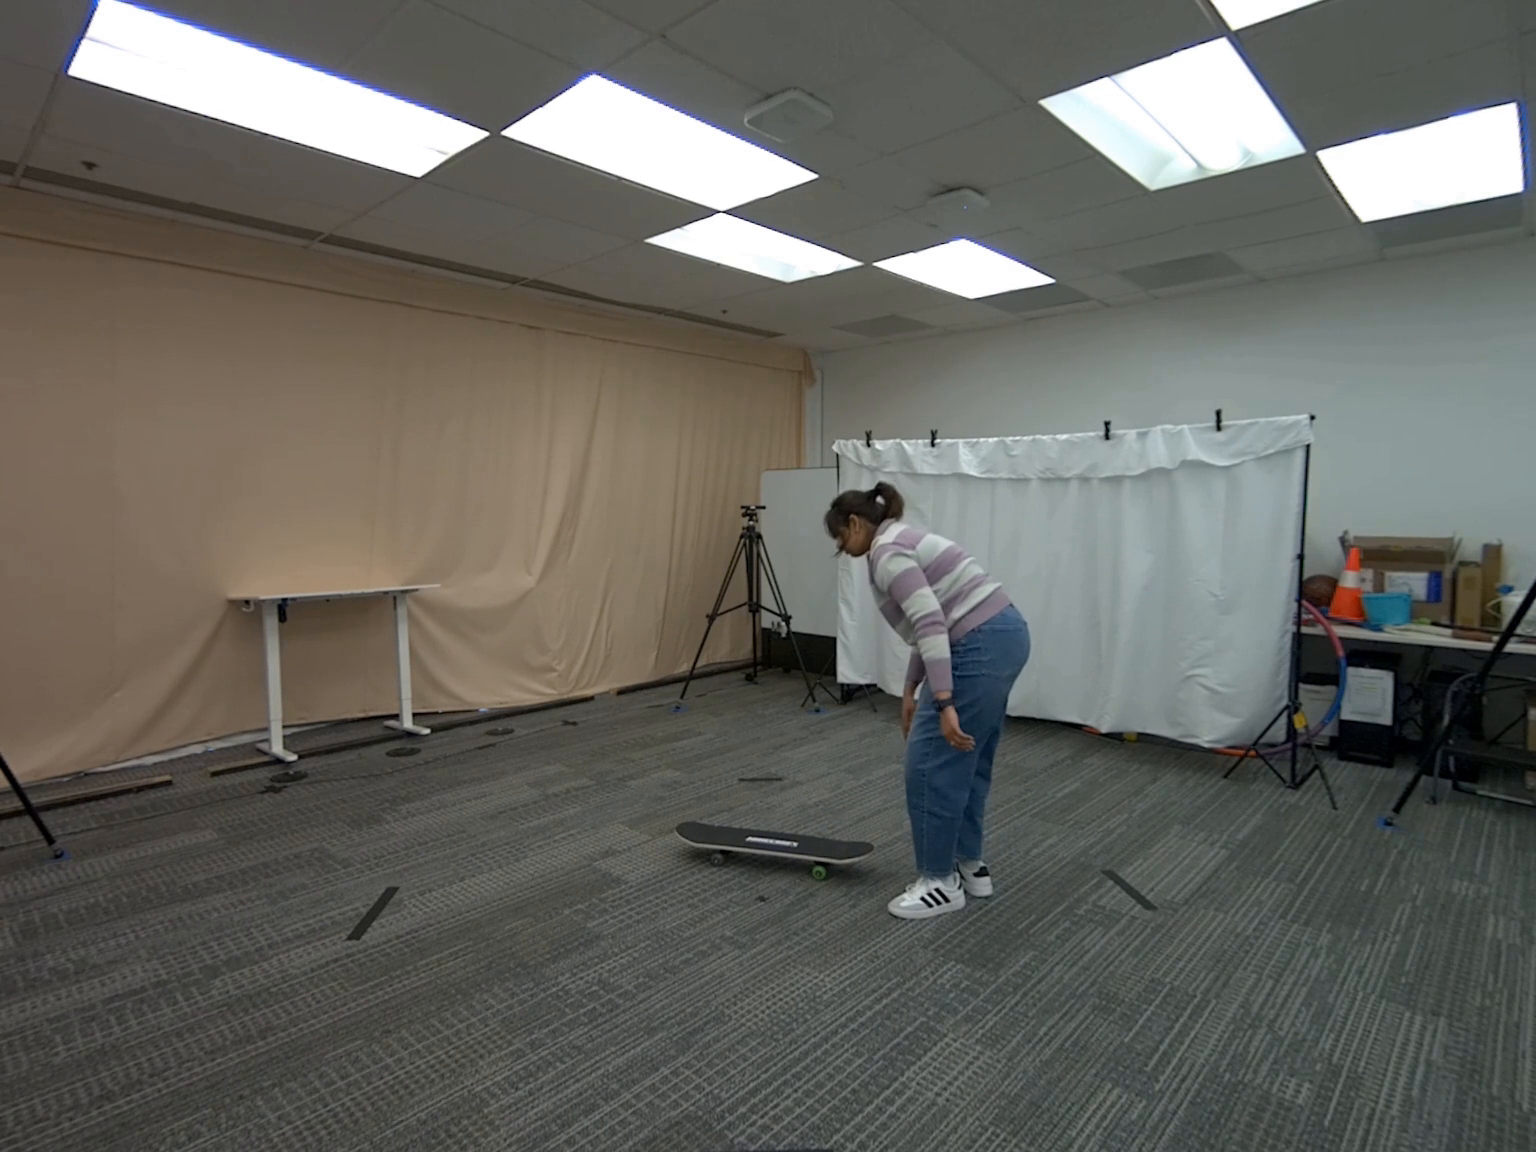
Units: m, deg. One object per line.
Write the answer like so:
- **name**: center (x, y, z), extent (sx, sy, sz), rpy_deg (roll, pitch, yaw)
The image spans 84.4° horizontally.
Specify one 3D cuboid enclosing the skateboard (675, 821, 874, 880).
- **skateboard**: center (0.021, 1.060, 3.262), extent (0.799, 0.110, 0.191), rpy_deg (1, 5, 16)
